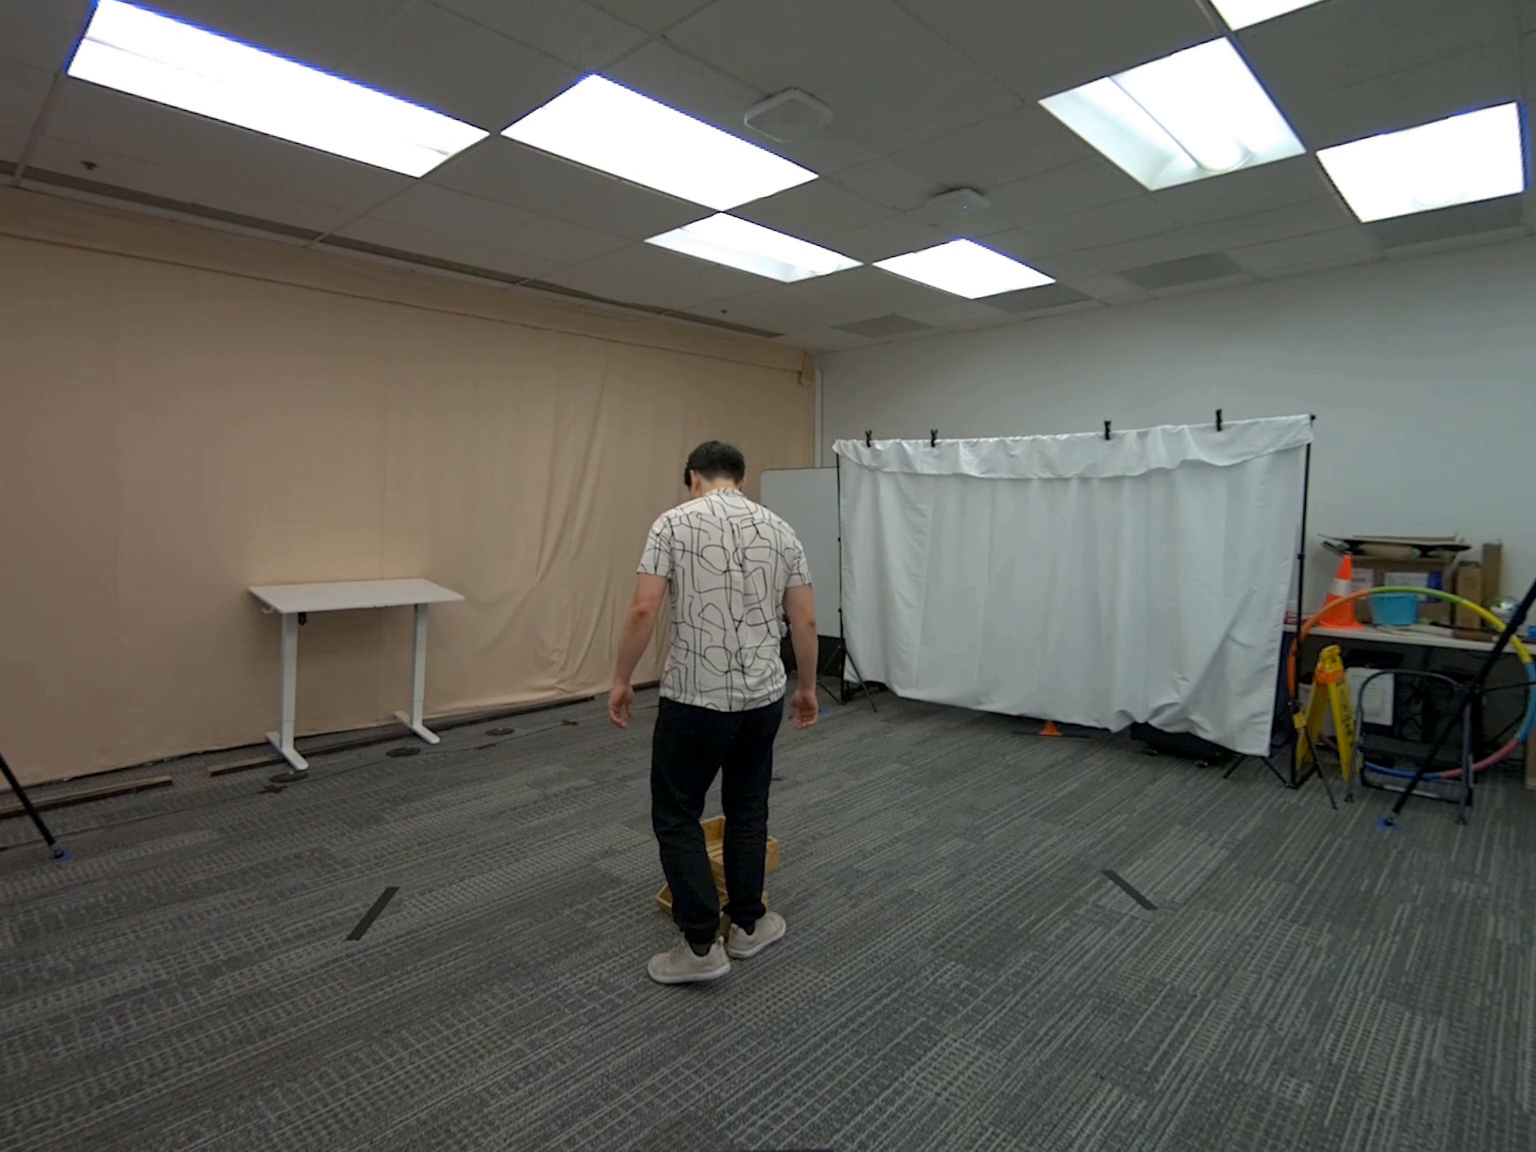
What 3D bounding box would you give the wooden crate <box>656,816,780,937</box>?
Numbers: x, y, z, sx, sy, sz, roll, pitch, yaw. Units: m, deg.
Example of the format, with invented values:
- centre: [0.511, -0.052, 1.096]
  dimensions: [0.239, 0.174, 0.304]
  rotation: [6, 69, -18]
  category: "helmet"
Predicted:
- centre: [-0.173, 1.023, 2.868]
  dimensions: [0.293, 0.273, 0.335]
  rotation: [-2, 4, -42]
  category: "wooden crate"
